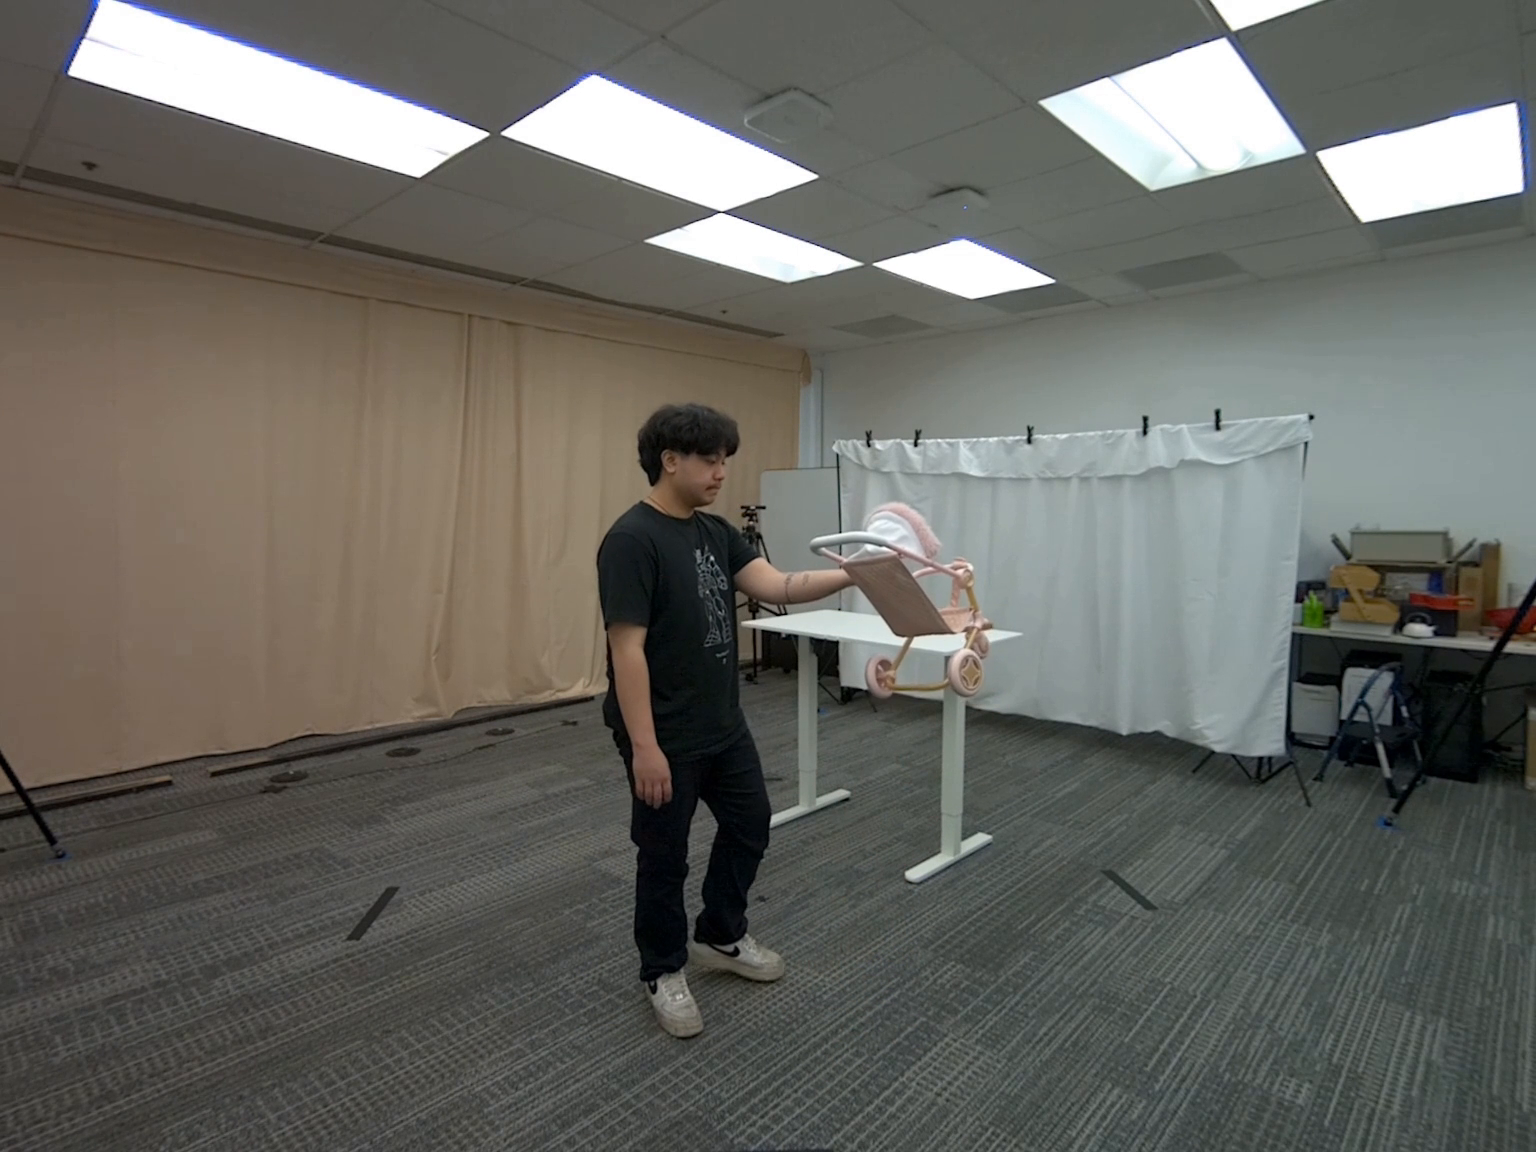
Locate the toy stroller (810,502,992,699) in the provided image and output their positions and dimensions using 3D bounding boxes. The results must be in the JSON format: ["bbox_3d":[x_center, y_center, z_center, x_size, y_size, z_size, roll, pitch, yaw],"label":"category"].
[{"bbox_3d":[0.379,0.052,2.036,0.337,0.527,0.289,-38,16,-33],"label":"toy stroller"}]
